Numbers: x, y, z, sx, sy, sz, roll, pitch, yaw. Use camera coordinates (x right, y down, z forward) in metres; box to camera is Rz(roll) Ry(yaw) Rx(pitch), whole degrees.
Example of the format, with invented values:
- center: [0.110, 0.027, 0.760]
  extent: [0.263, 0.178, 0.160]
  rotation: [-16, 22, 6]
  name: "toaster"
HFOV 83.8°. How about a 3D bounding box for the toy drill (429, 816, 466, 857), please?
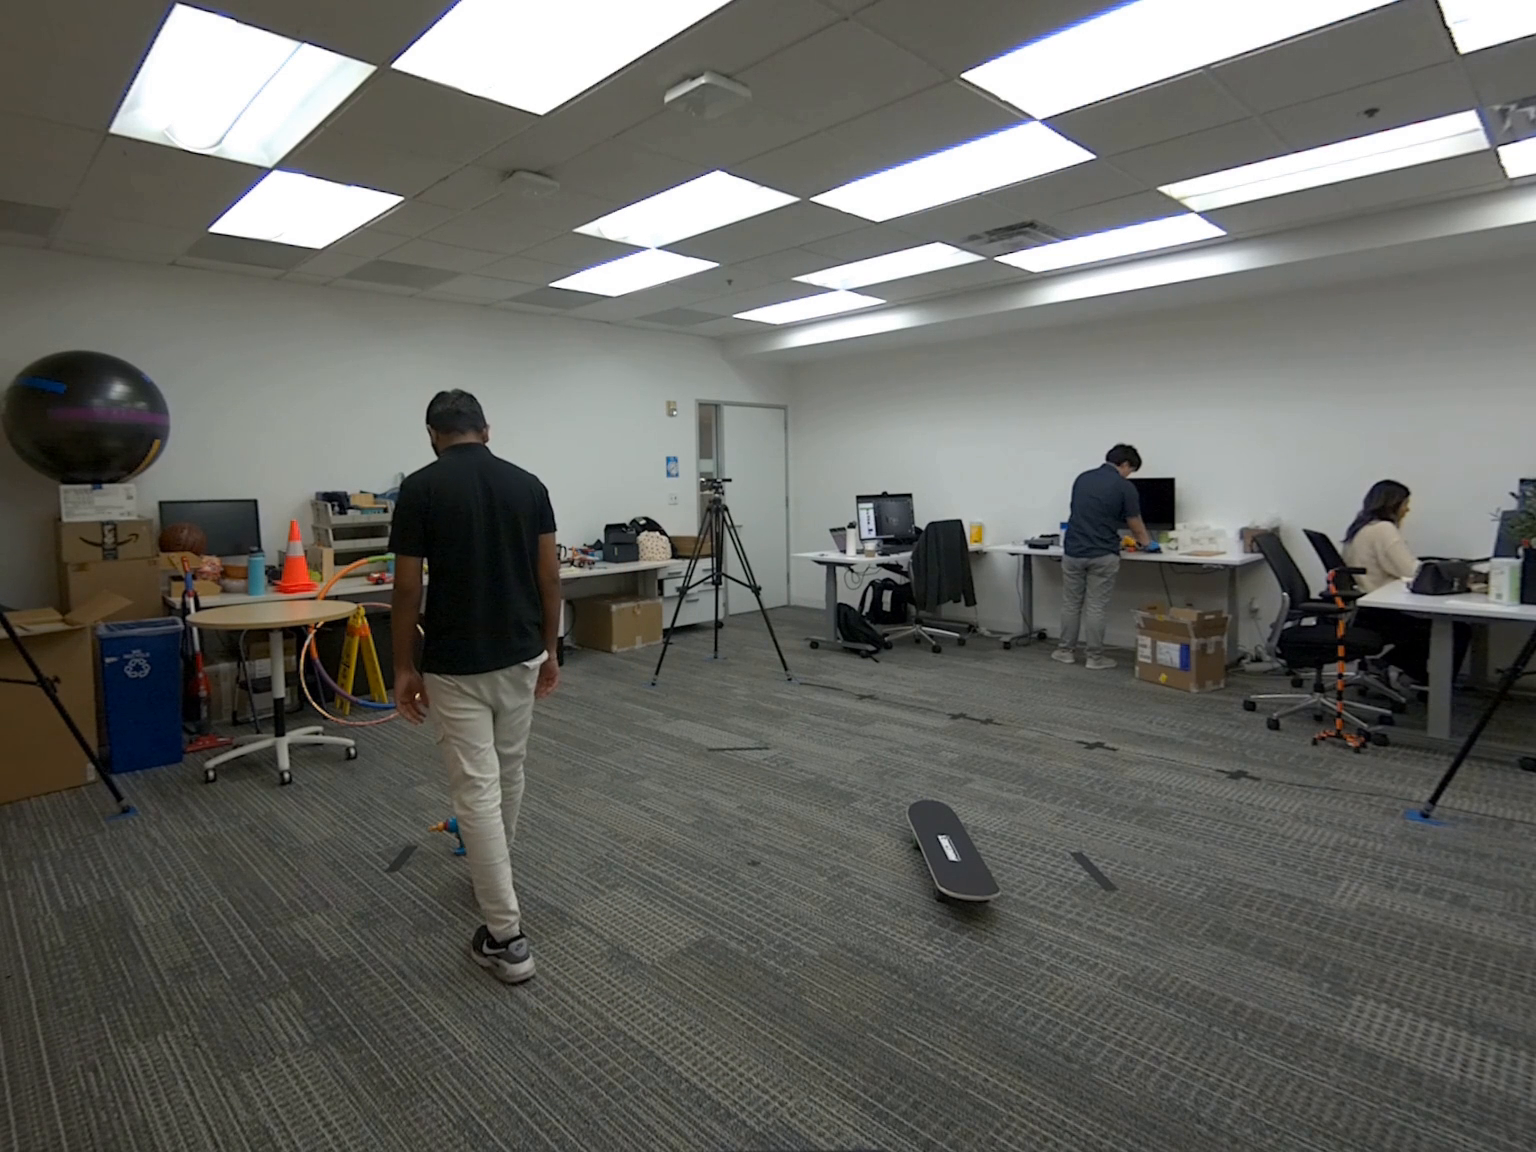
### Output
- center: [-1.197, 0.986, 3.235]
  extent: [0.168, 0.145, 0.062]
  rotation: [-6, 6, -14]
  name: "toy drill"
